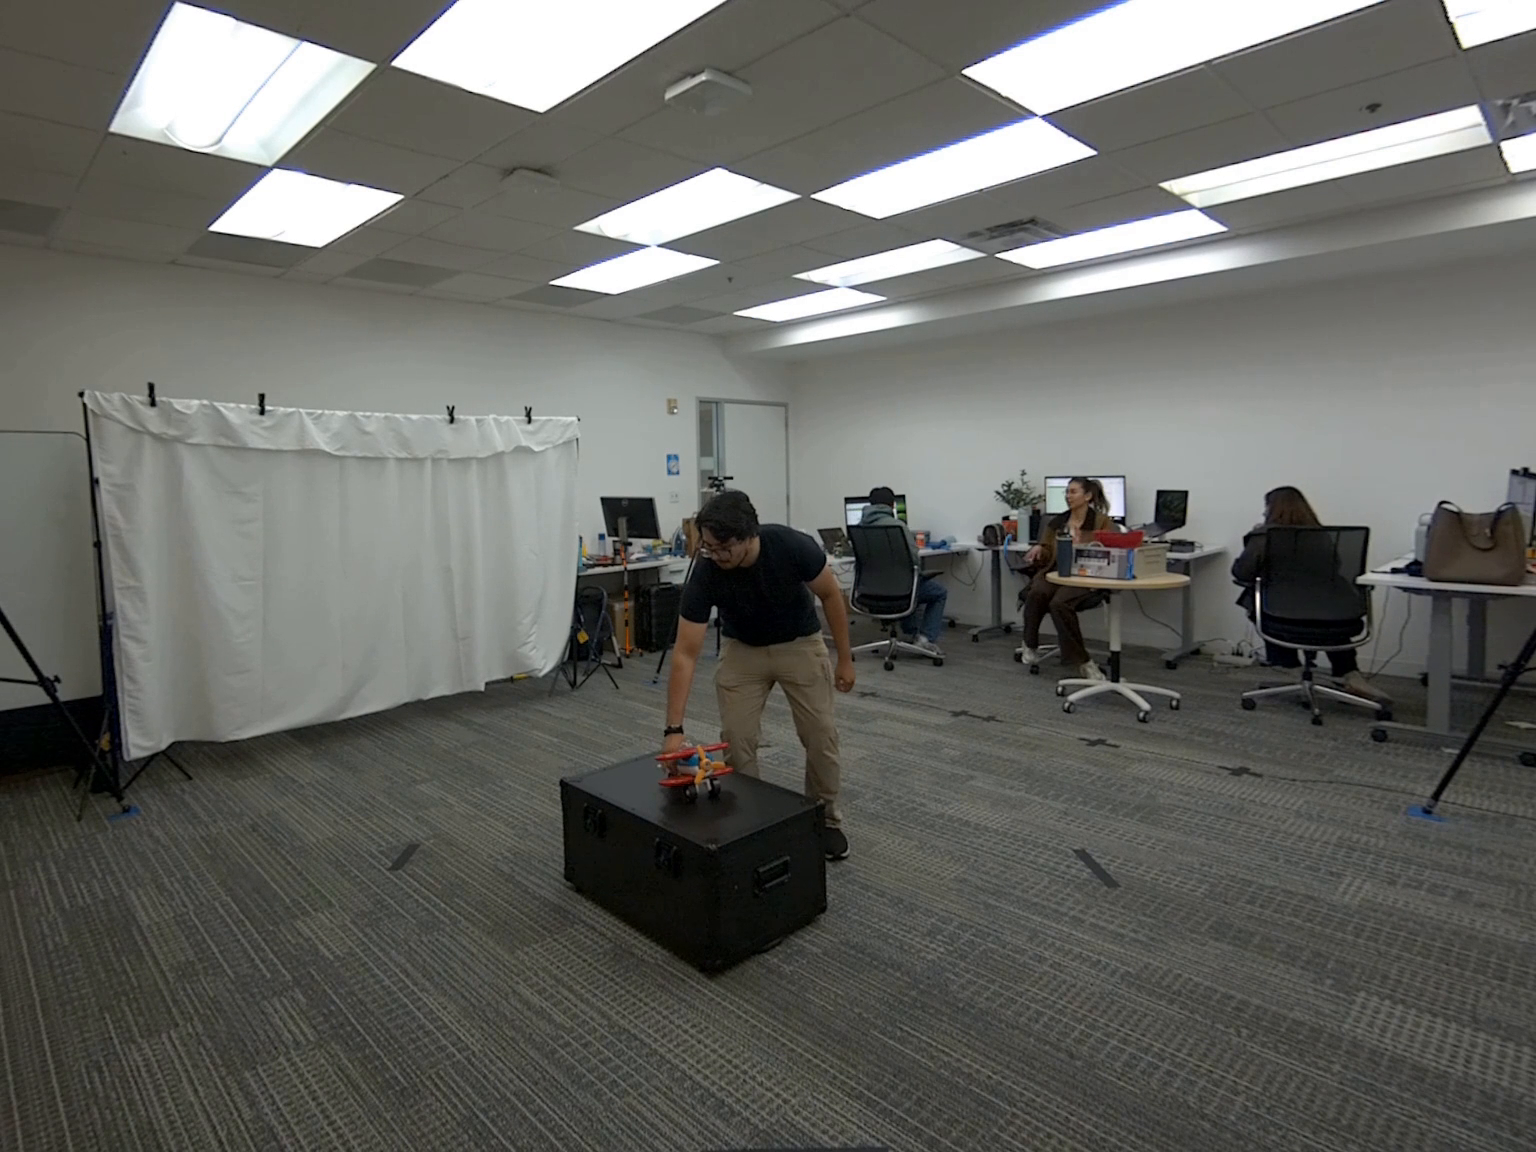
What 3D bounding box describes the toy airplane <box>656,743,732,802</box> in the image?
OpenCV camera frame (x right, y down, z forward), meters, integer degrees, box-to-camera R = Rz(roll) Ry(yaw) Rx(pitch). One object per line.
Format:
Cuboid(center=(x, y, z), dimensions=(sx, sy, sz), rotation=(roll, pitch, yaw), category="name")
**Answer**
Cuboid(center=(-0.267, 0.628, 2.794), dimensions=(0.267, 0.155, 0.245), rotation=(4, 8, 33), category="toy airplane")
